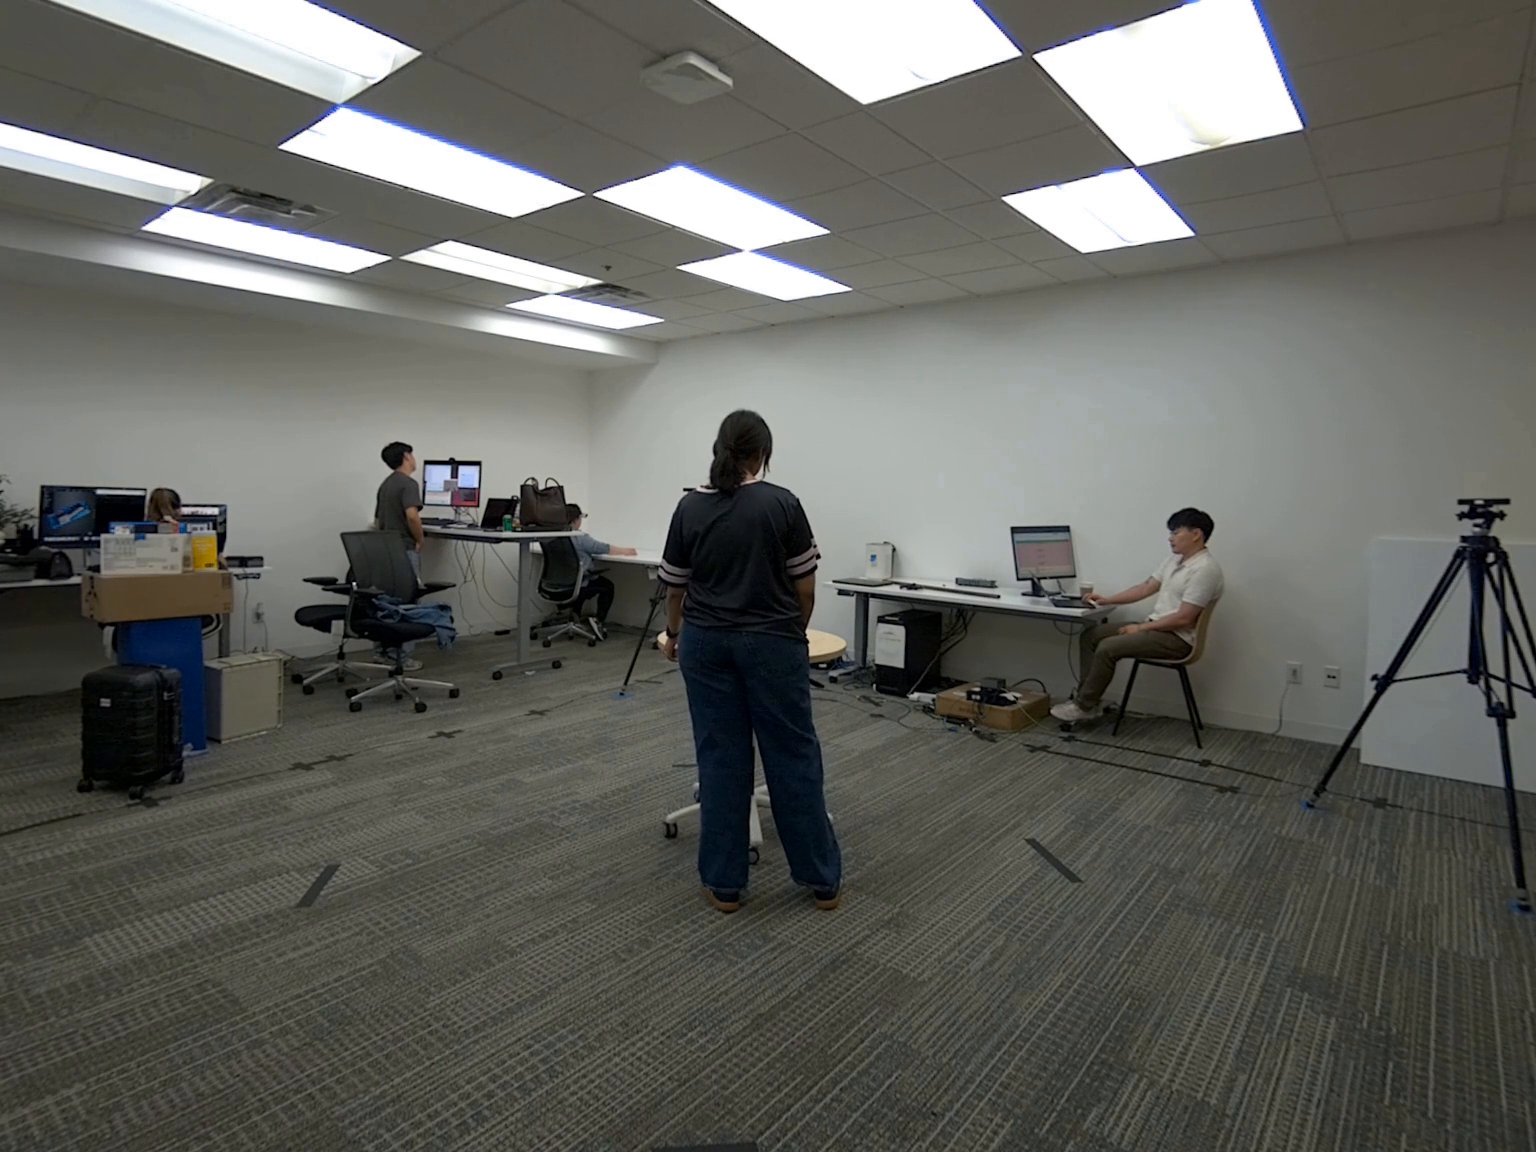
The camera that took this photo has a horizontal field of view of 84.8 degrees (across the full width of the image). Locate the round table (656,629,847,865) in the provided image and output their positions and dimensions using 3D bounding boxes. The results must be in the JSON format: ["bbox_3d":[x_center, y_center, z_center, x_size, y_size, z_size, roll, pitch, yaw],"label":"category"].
[{"bbox_3d":[-0.084,0.643,3.490,0.763,0.791,0.768,1,5,-2],"label":"round table"}]
